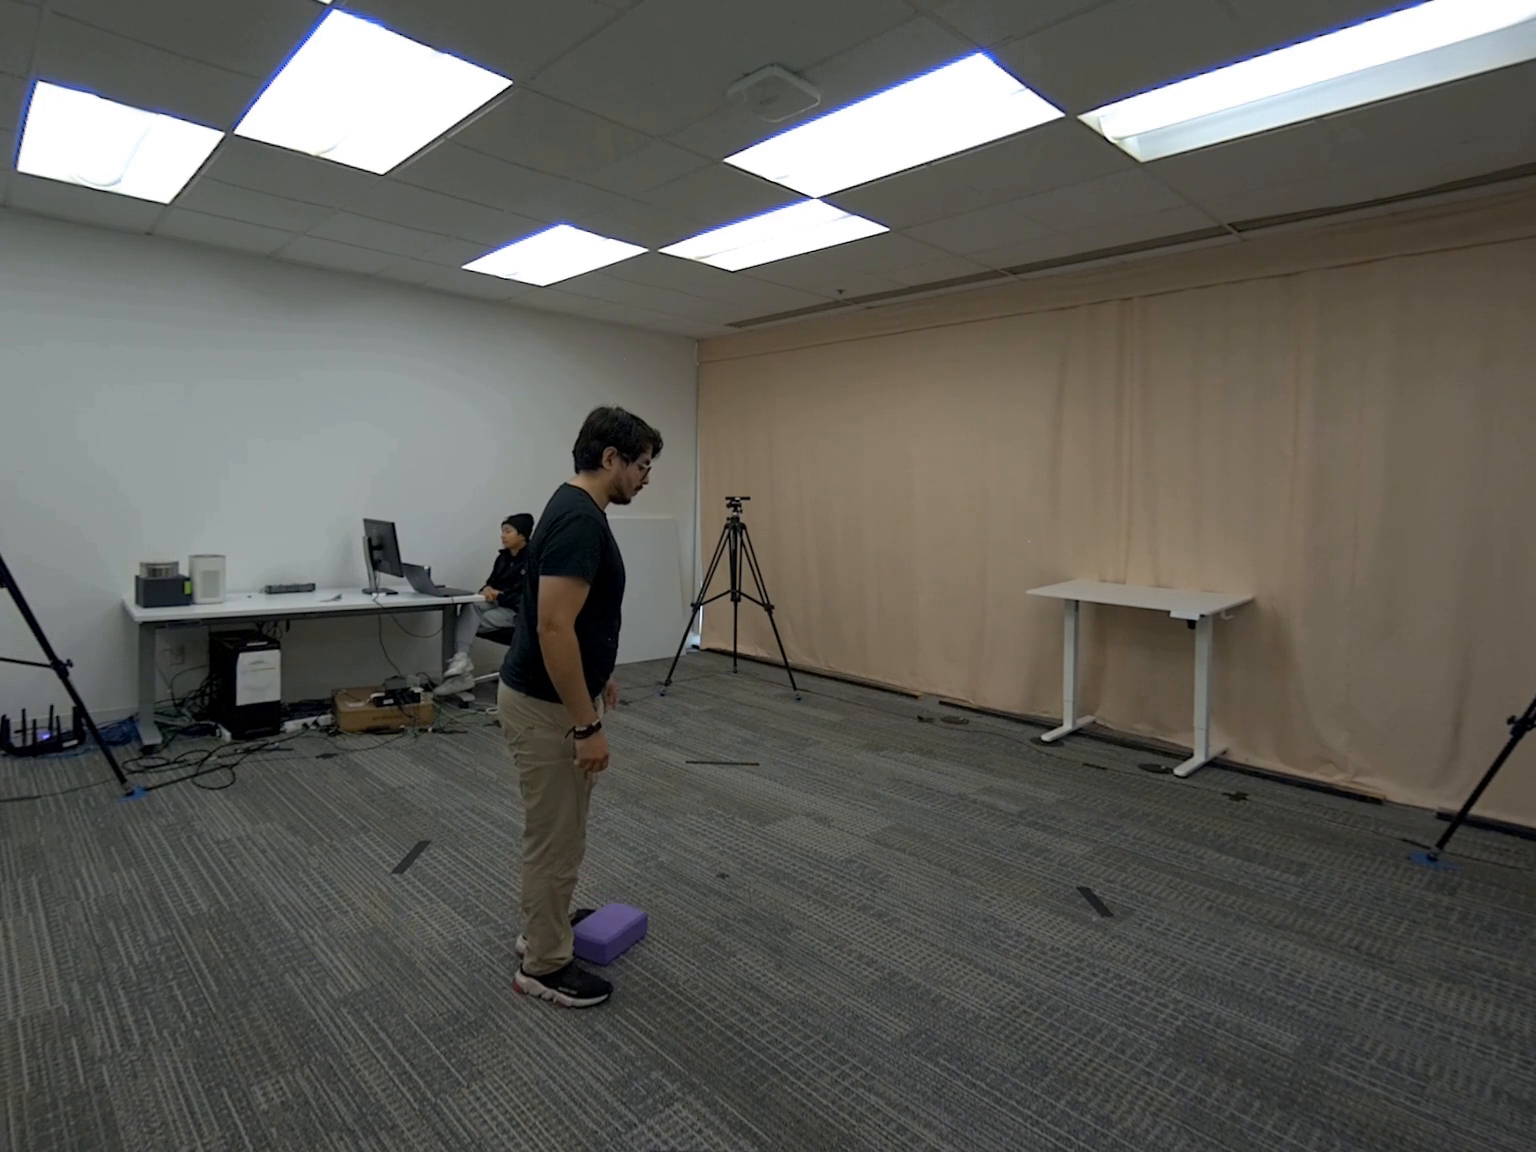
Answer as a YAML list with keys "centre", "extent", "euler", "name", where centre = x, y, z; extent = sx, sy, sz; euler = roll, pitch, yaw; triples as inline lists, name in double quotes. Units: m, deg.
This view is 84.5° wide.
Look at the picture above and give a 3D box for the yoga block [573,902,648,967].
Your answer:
- centre: [-0.494, 1.103, 2.594]
  extent: [0.152, 0.076, 0.225]
  euler: [3, 5, 28]
  name: "yoga block"
